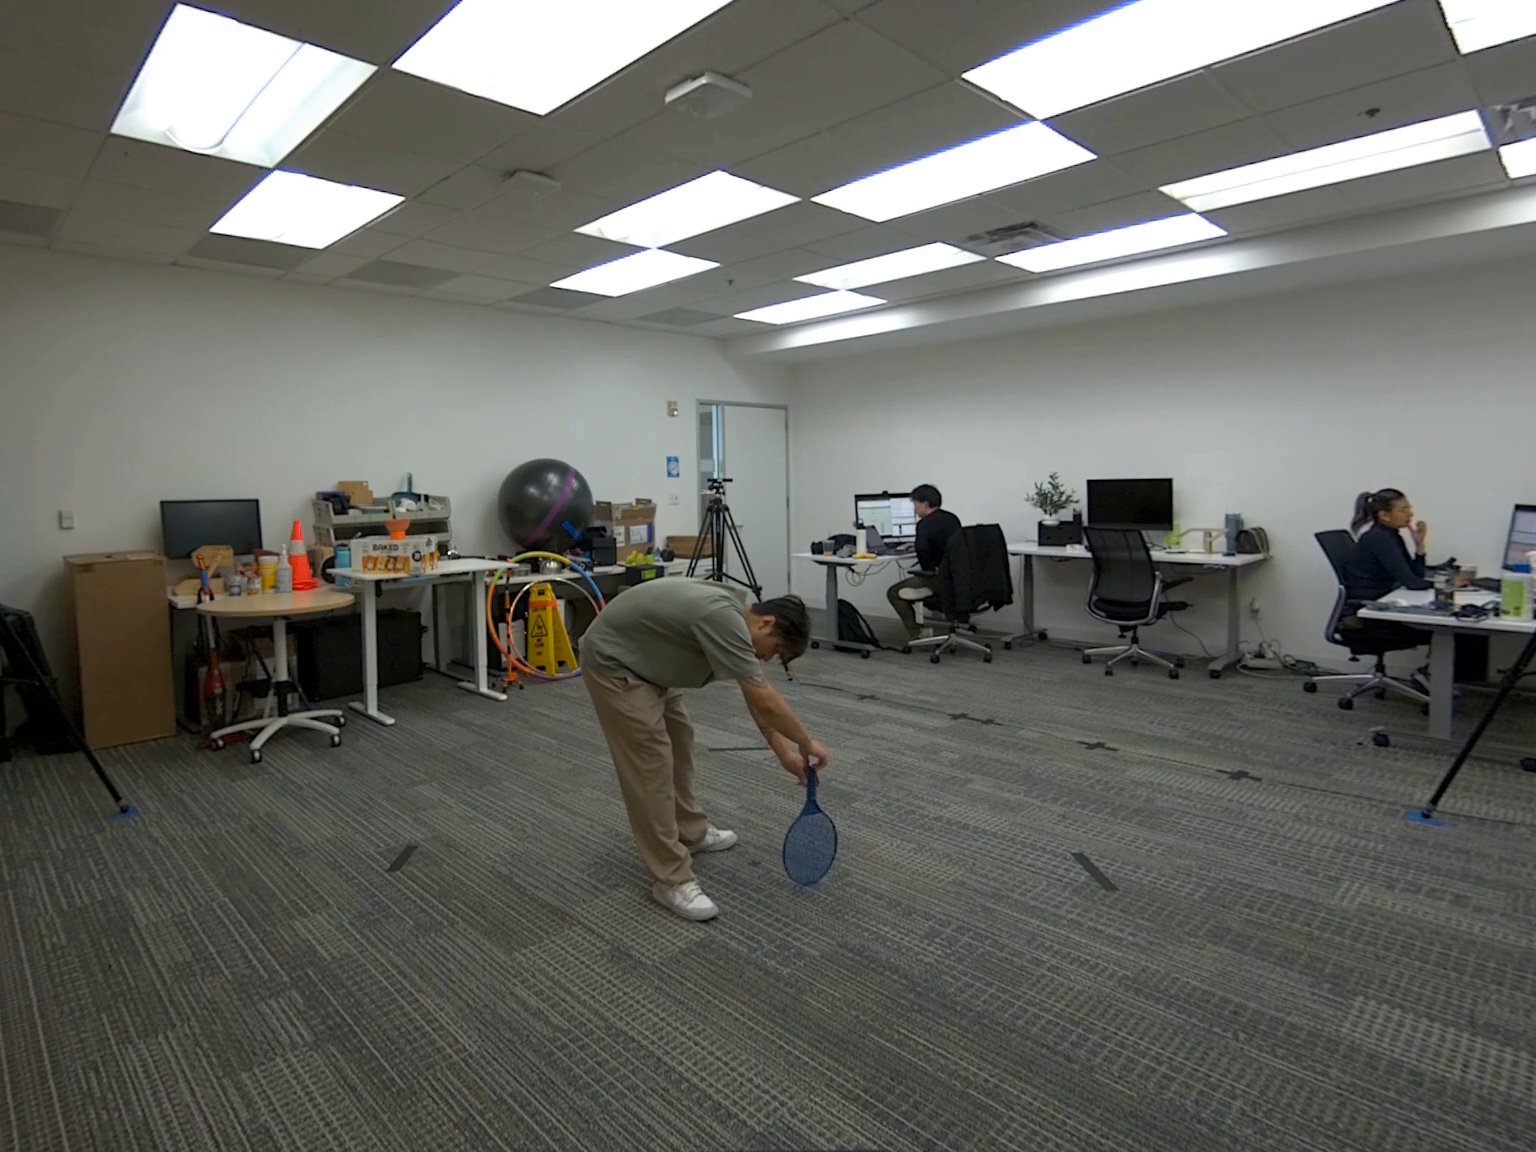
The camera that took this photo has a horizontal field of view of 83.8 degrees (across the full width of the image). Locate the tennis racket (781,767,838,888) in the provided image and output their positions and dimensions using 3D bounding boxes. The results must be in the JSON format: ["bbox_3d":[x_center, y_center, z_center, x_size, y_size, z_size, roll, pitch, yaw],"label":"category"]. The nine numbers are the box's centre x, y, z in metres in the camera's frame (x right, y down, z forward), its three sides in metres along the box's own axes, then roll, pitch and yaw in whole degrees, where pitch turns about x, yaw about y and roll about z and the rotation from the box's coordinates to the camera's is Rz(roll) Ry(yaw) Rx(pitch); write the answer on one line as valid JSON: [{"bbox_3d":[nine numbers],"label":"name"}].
[{"bbox_3d":[0.145,0.848,2.908,0.209,0.429,0.032,-5,9,-24],"label":"tennis racket"}]
